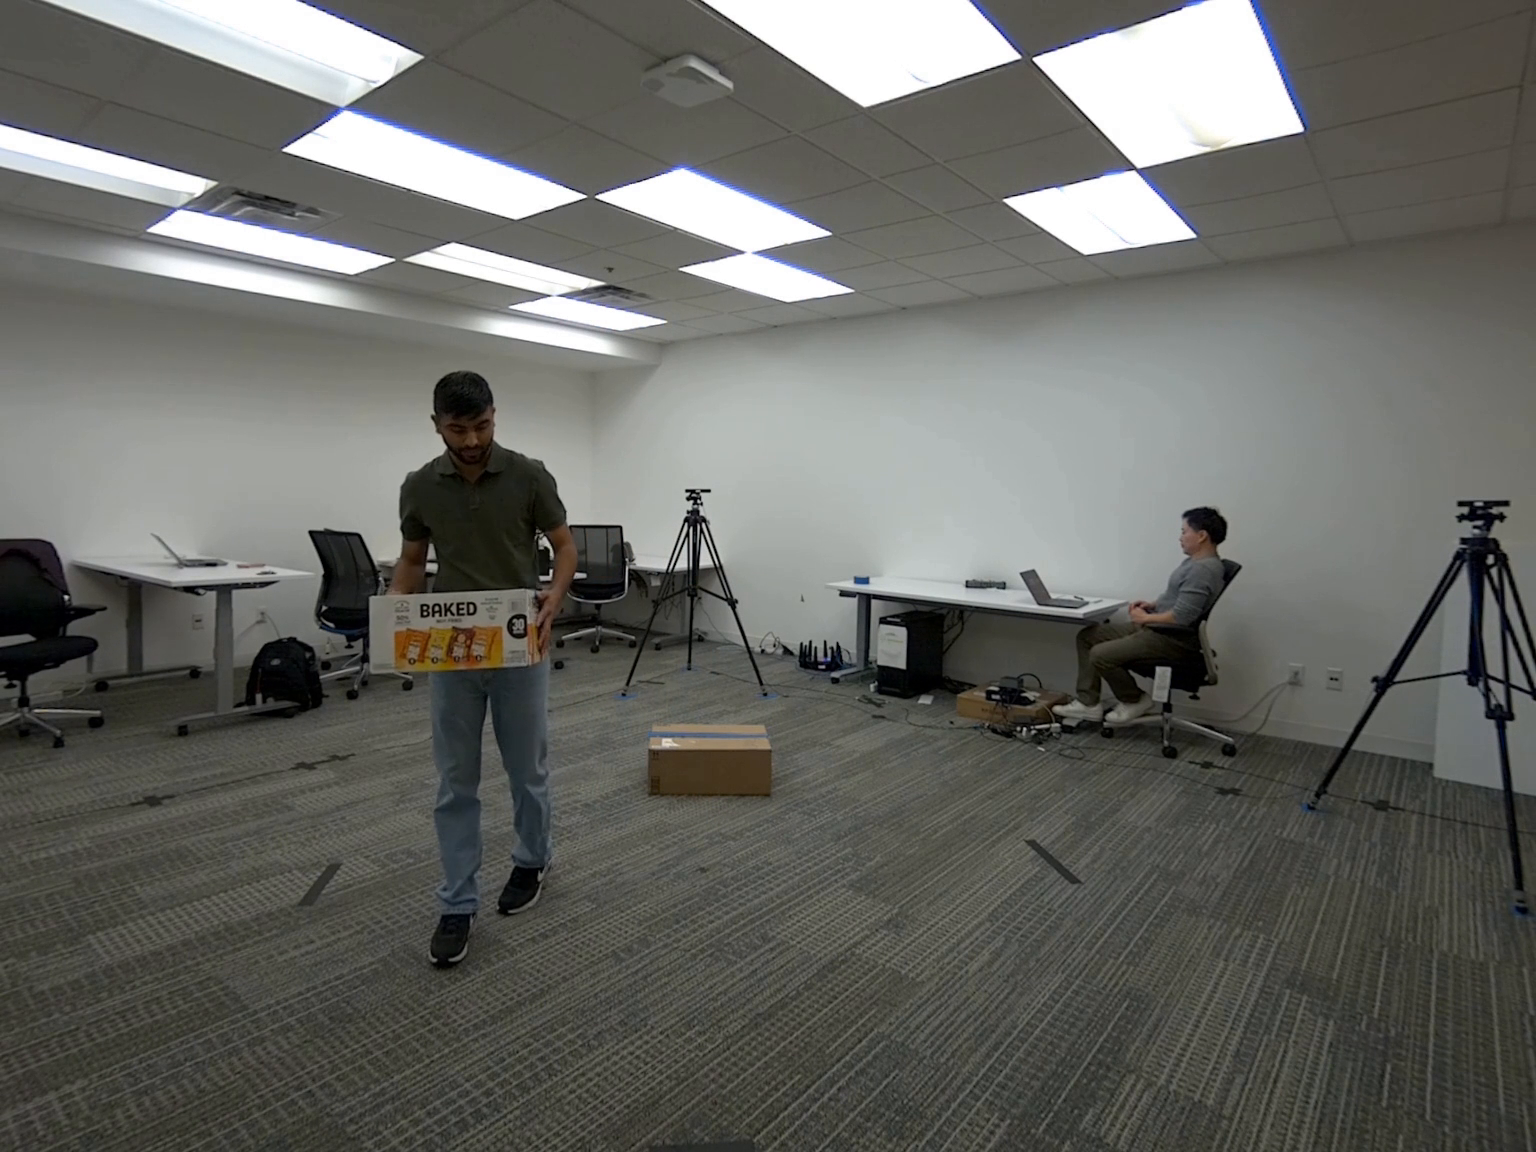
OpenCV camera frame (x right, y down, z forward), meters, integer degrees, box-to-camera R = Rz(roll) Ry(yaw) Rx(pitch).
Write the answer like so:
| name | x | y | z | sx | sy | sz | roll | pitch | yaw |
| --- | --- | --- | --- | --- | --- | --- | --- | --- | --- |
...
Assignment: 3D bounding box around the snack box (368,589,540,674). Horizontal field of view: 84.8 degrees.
| name | x | y | z | sx | sy | sz | roll | pitch | yaw |
| --- | --- | --- | --- | --- | --- | --- | --- | --- | --- |
| snack box | -0.853 | 0.147 | 2.380 | 0.403 | 0.207 | 0.340 | -2 | -3 | -4 |
